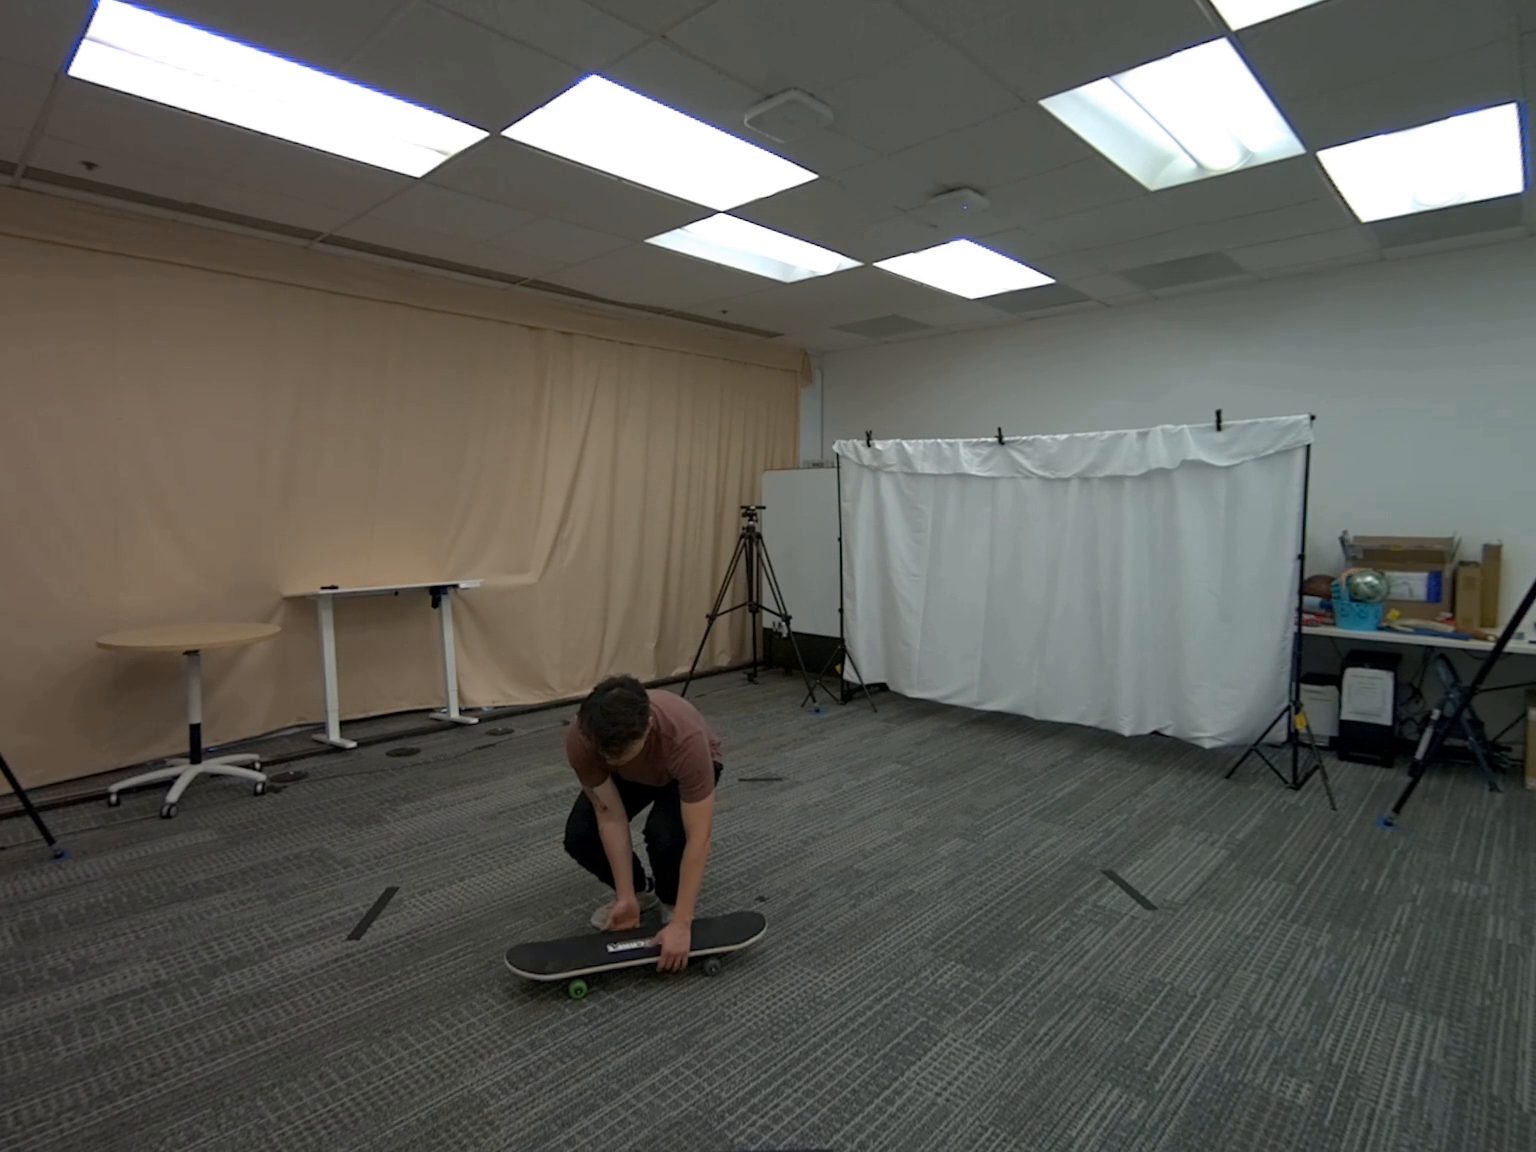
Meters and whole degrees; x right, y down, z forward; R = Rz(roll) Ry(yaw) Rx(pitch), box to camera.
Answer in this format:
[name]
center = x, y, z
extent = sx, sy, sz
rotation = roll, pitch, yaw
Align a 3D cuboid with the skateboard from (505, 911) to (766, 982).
[skateboard]
center = -0.381, 1.121, 2.516
extent = 0.772, 0.110, 0.197
rotation = -2, 5, -16
